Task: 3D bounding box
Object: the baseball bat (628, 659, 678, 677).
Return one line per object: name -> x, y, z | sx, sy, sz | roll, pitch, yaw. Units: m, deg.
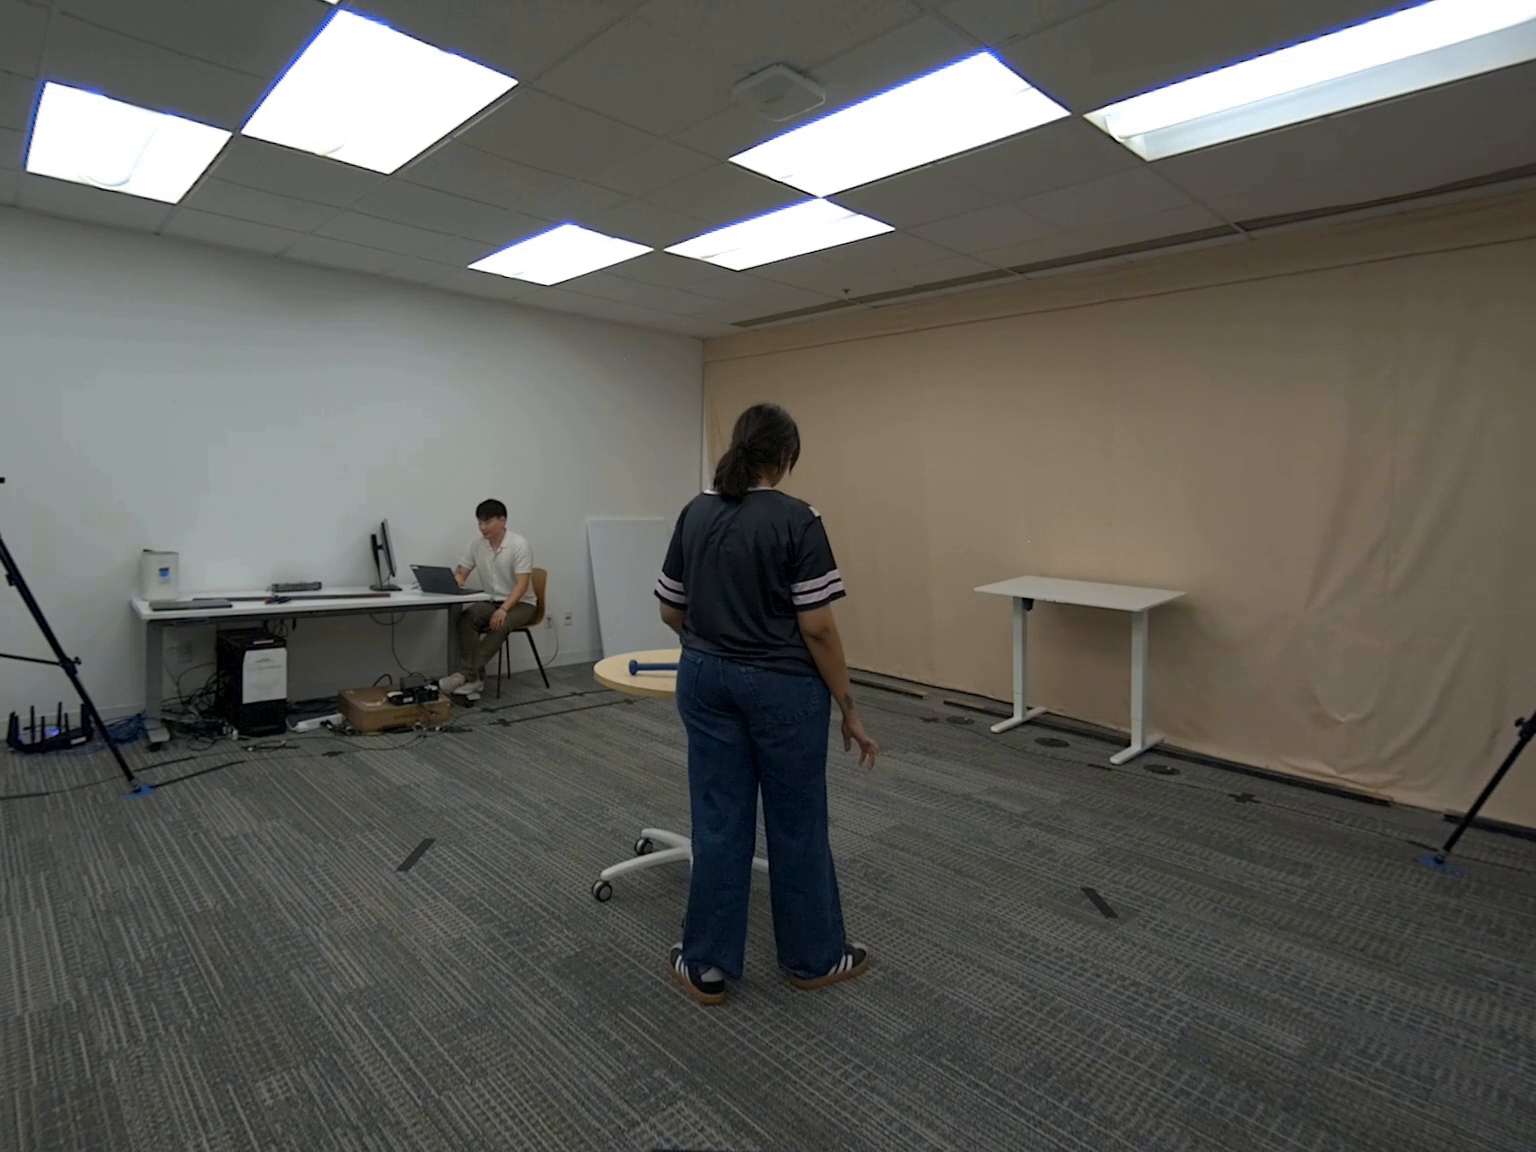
baseball bat -> -0.200, 0.311, 2.815 | 0.543, 0.089, 0.089 | 0, 4, 1
